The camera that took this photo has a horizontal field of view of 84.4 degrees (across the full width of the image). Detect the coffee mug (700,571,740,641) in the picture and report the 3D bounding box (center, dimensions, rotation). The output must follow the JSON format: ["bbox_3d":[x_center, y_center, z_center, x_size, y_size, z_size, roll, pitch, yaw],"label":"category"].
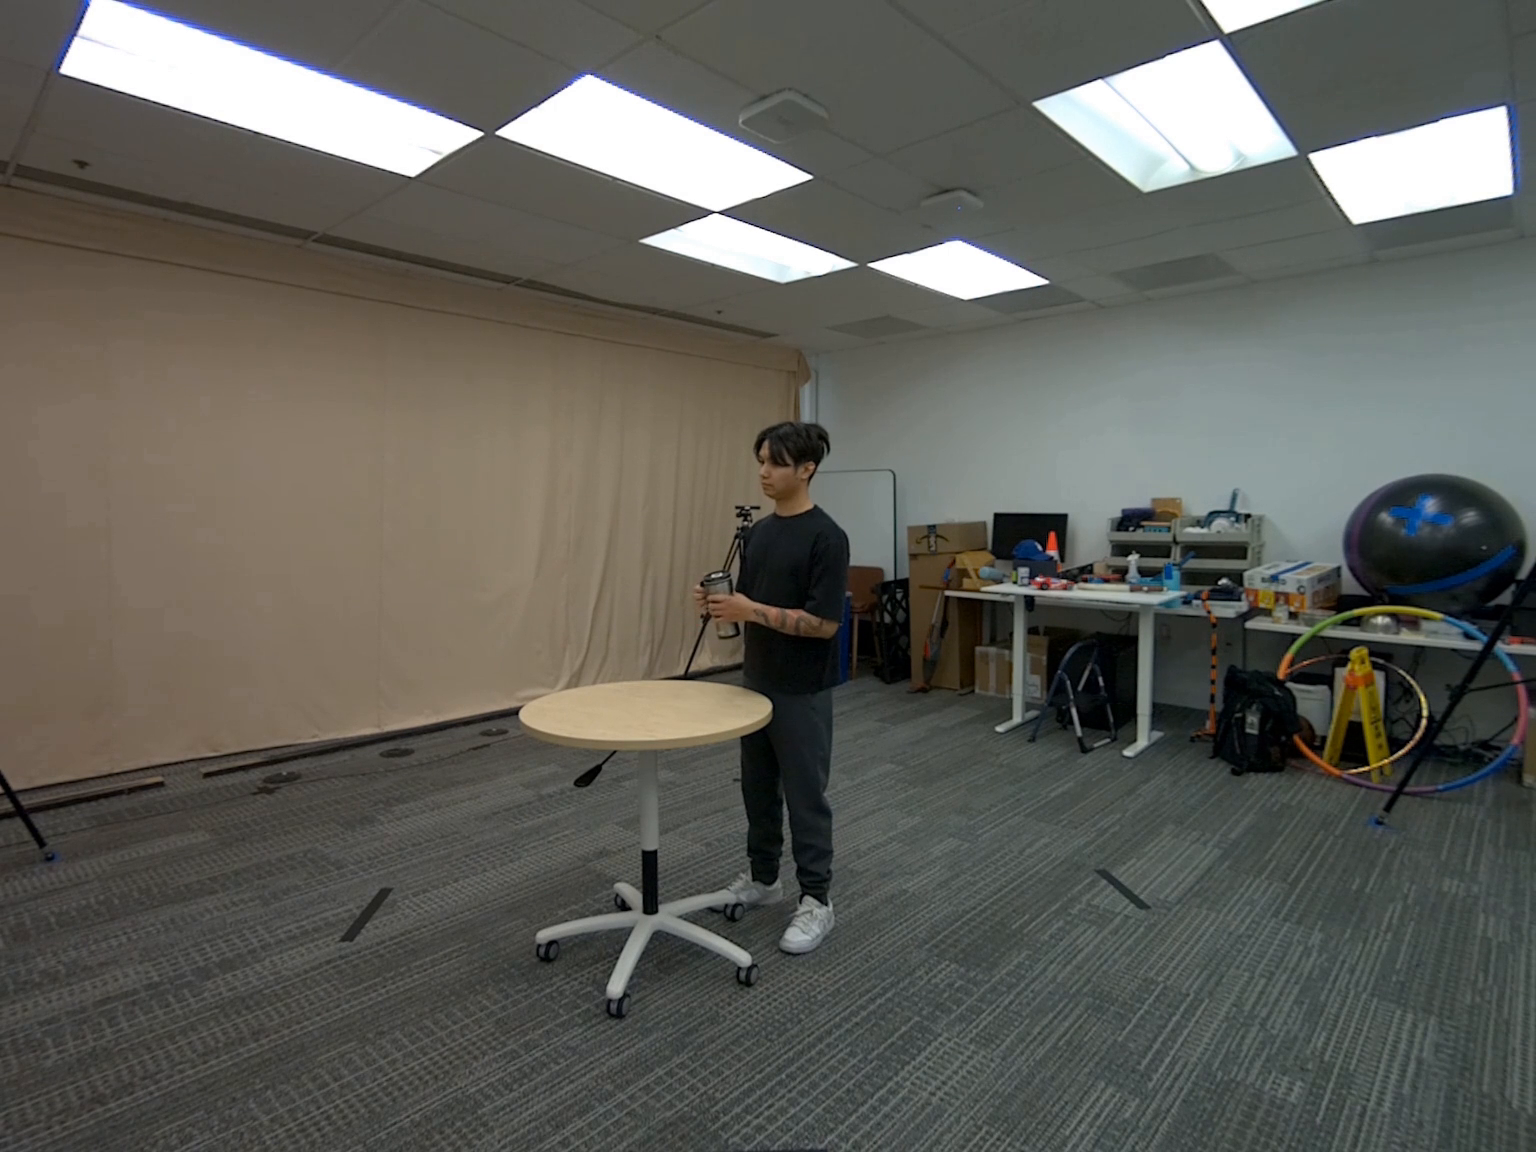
[{"bbox_3d":[-0.119,0.102,2.635,0.125,0.203,0.085,-8,1,31],"label":"coffee mug"}]
